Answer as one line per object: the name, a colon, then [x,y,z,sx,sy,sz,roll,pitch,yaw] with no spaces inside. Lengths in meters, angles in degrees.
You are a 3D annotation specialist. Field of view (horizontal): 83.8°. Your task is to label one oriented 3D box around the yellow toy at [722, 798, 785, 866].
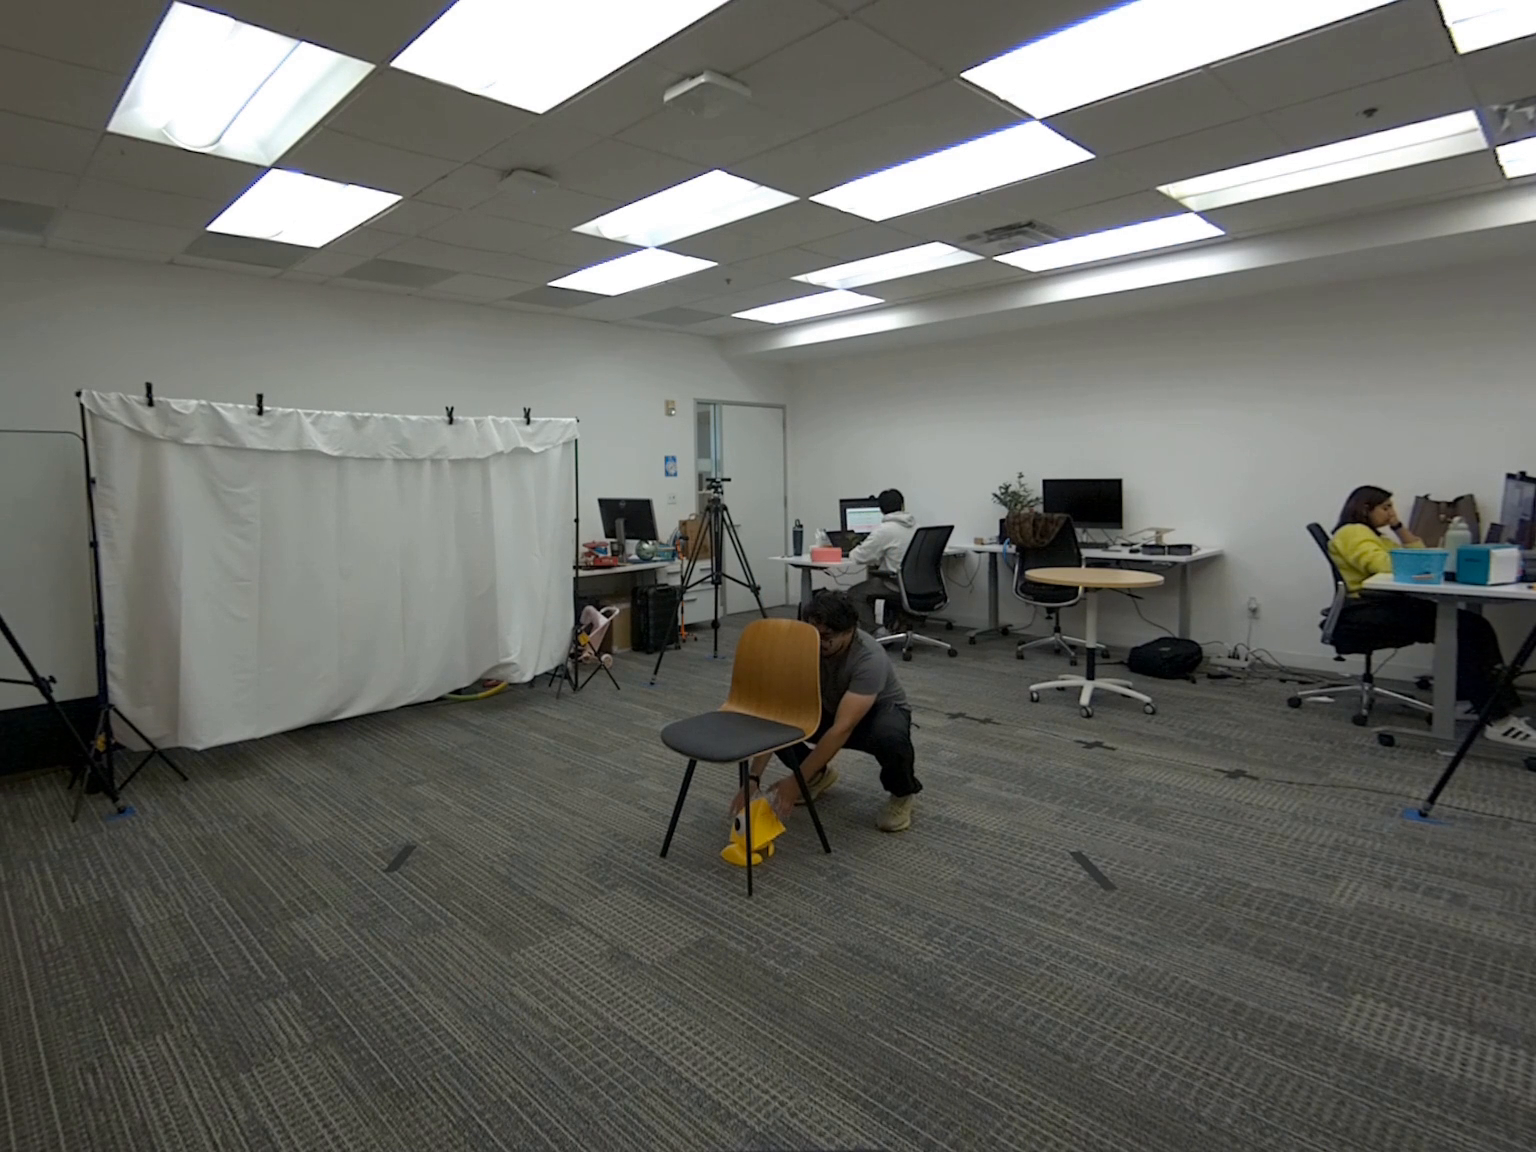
yellow toy: [-0.065,0.924,3.169,0.199,0.229,0.199,10,10,41]
